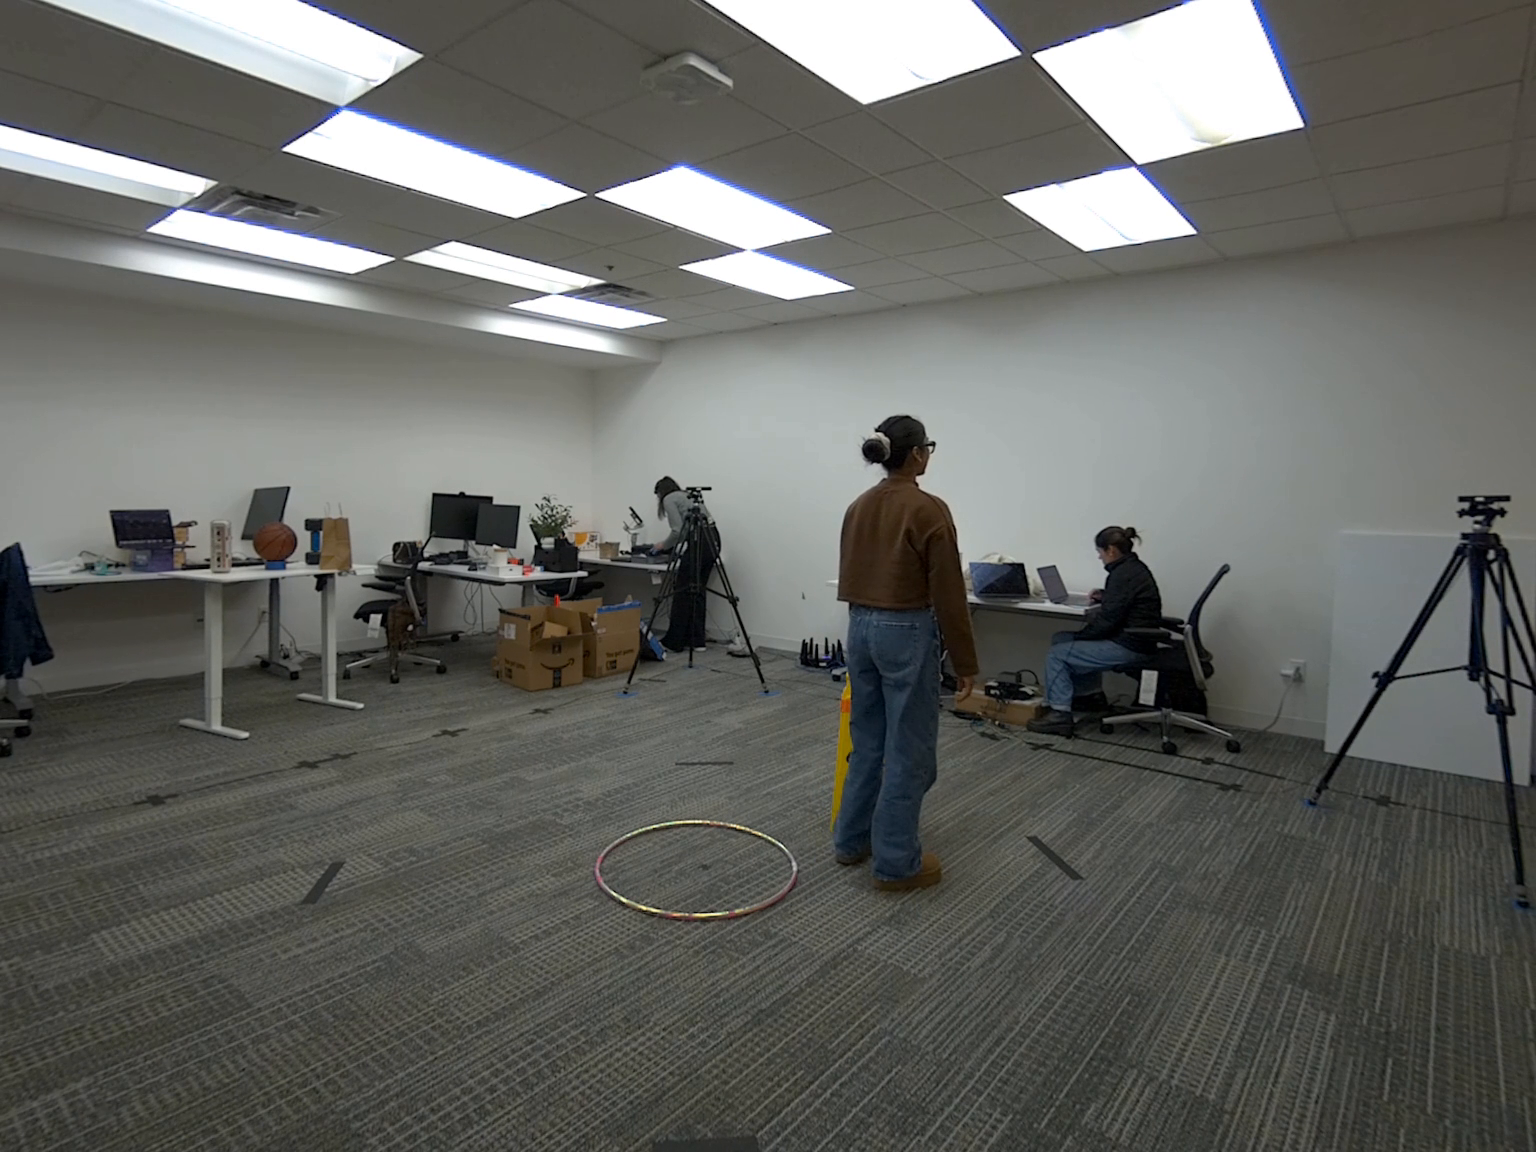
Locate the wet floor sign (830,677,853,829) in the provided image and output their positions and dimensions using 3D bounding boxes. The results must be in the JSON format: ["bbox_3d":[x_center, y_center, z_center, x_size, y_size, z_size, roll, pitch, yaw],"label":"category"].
[{"bbox_3d":[0.411,0.705,3.536,0.286,0.644,0.287,3,3,10],"label":"wet floor sign"}]
